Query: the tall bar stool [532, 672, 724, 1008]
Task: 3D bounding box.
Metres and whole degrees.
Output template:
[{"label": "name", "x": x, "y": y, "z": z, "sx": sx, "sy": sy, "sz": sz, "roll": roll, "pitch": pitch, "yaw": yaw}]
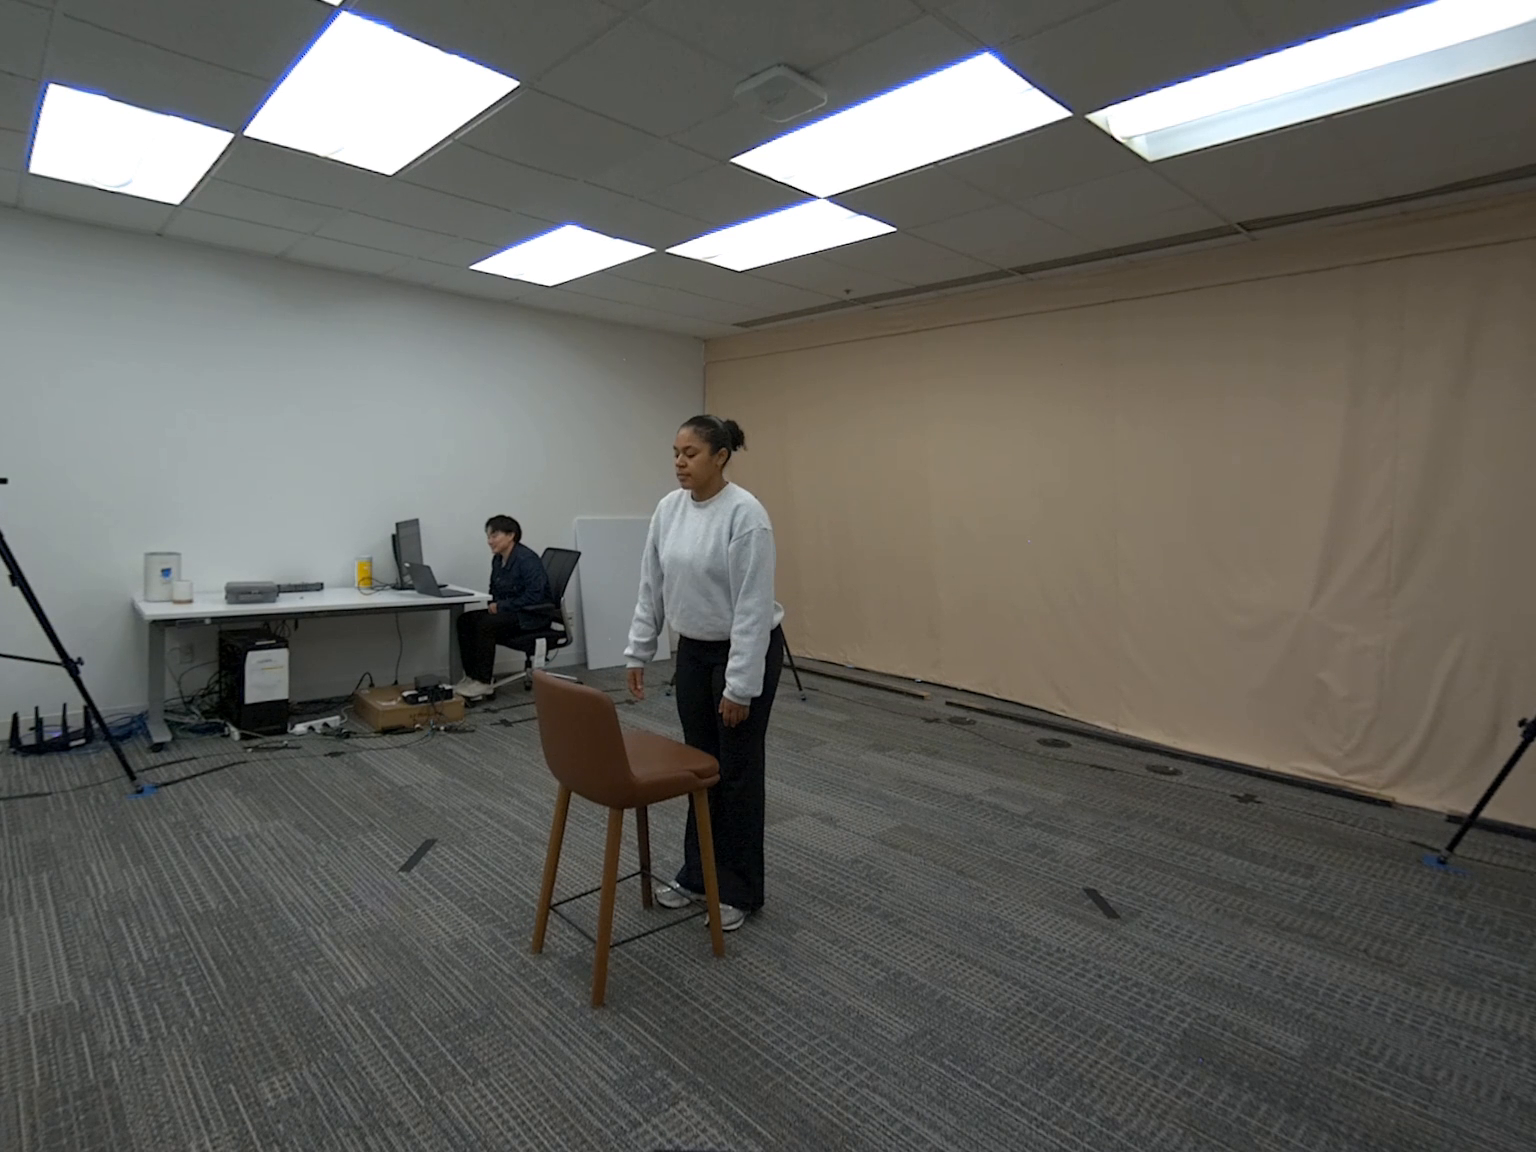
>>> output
[{"label": "tall bar stool", "x": -0.429, "y": 0.714, "z": 2.538, "sx": 0.457, "sy": 0.887, "sz": 0.468, "roll": -4, "pitch": 6, "yaw": -41}]
